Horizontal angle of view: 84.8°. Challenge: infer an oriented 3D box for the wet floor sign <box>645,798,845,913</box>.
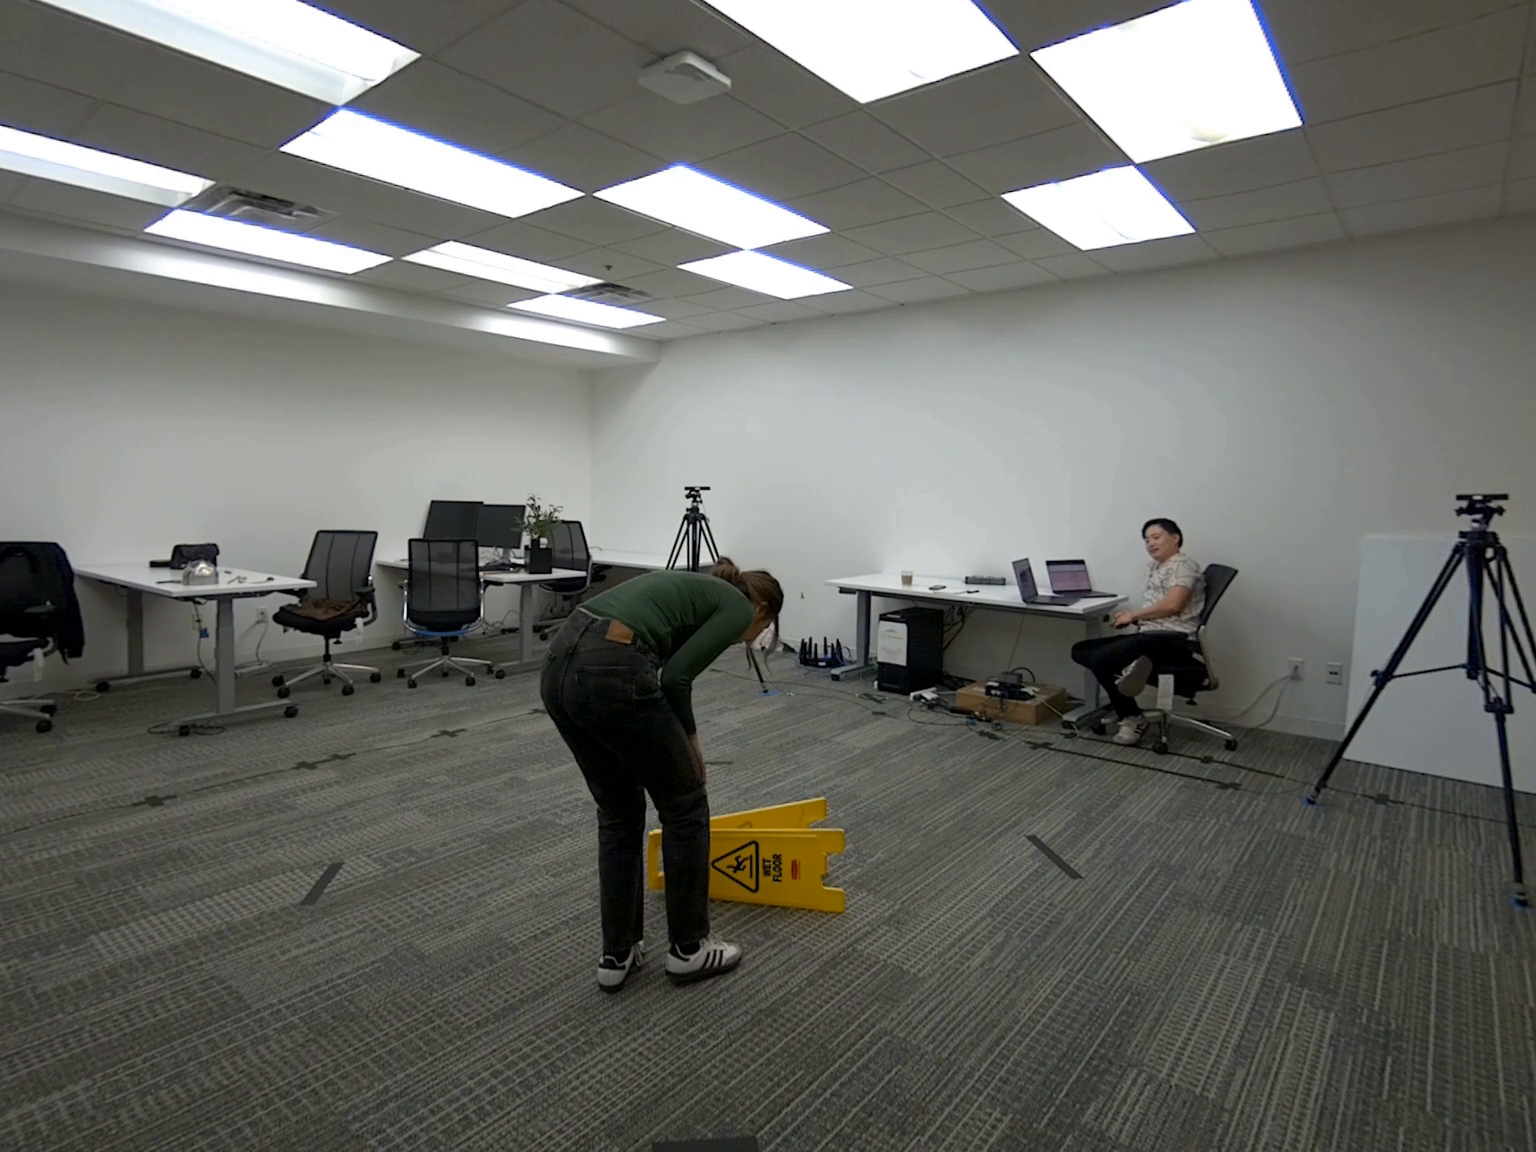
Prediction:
[{"bbox_3d":[-0.098,0.952,2.910,0.643,0.281,0.292,-2,5,-5],"label":"wet floor sign"}]
